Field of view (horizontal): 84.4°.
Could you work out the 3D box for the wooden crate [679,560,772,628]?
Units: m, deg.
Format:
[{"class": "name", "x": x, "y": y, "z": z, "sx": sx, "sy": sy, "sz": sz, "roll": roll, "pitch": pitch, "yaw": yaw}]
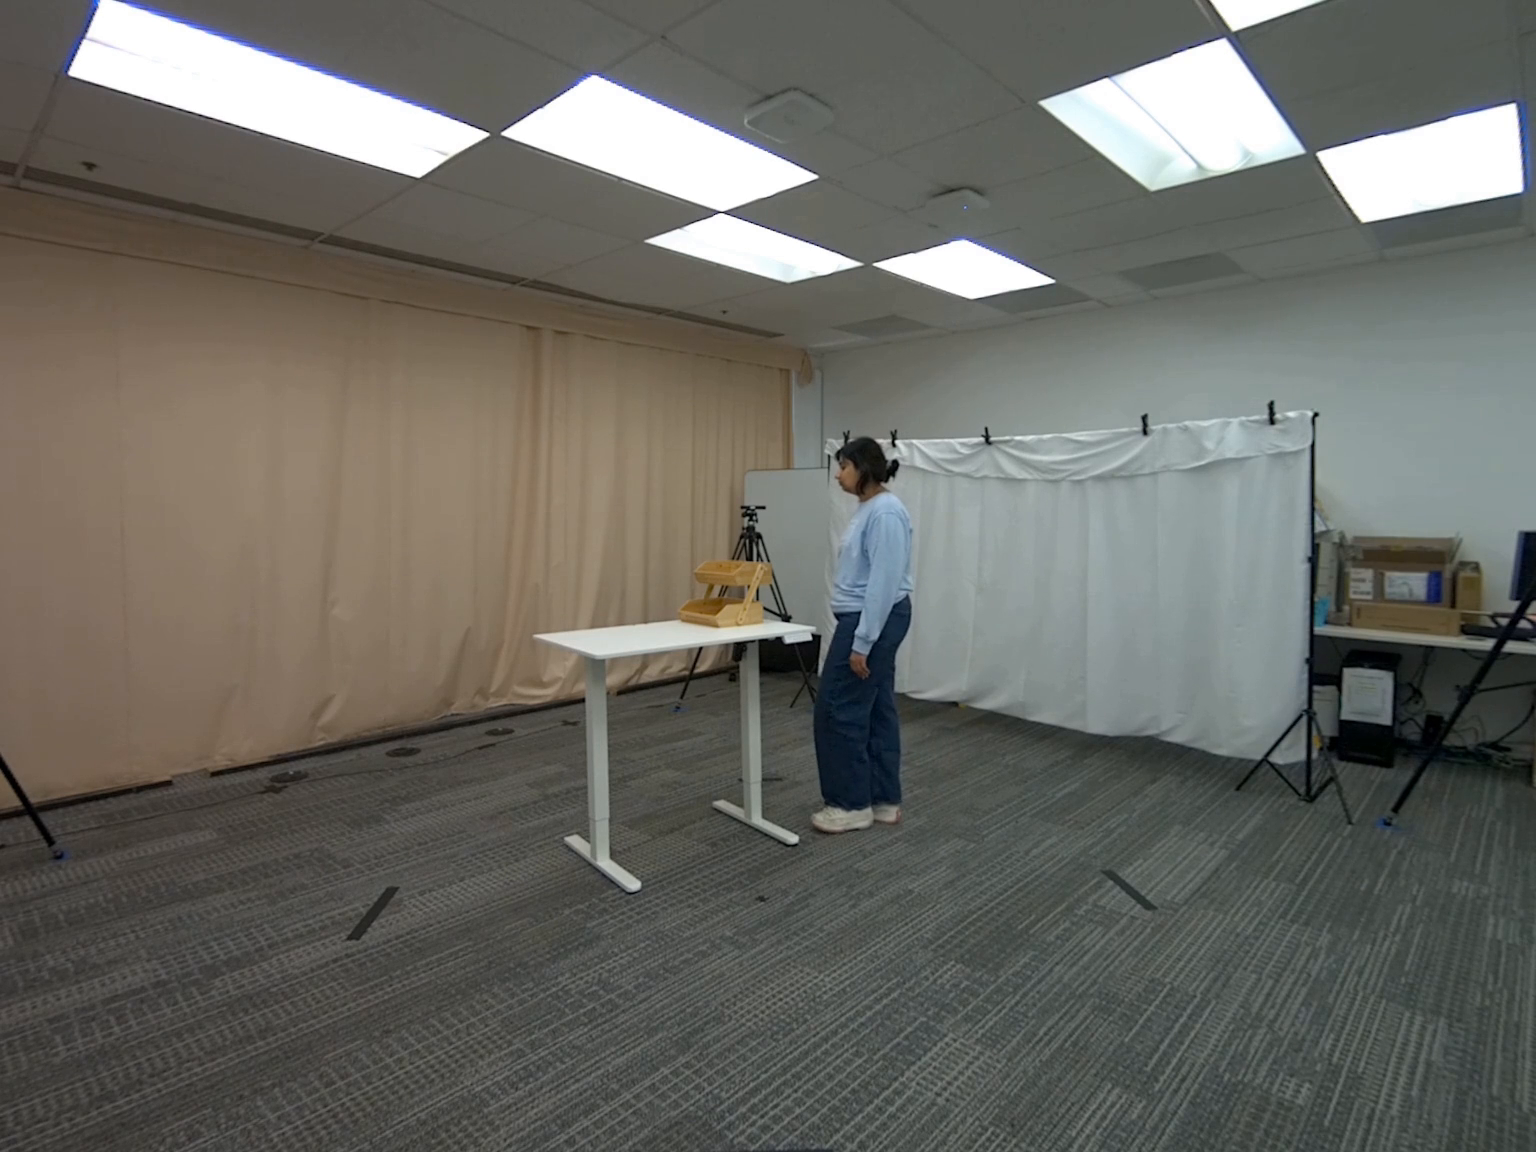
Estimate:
[{"class": "wooden crate", "x": -0.192, "y": 0.071, "z": 3.709, "sx": 0.293, "sy": 0.273, "sz": 0.335, "roll": -2, "pitch": 4, "yaw": -37}]
